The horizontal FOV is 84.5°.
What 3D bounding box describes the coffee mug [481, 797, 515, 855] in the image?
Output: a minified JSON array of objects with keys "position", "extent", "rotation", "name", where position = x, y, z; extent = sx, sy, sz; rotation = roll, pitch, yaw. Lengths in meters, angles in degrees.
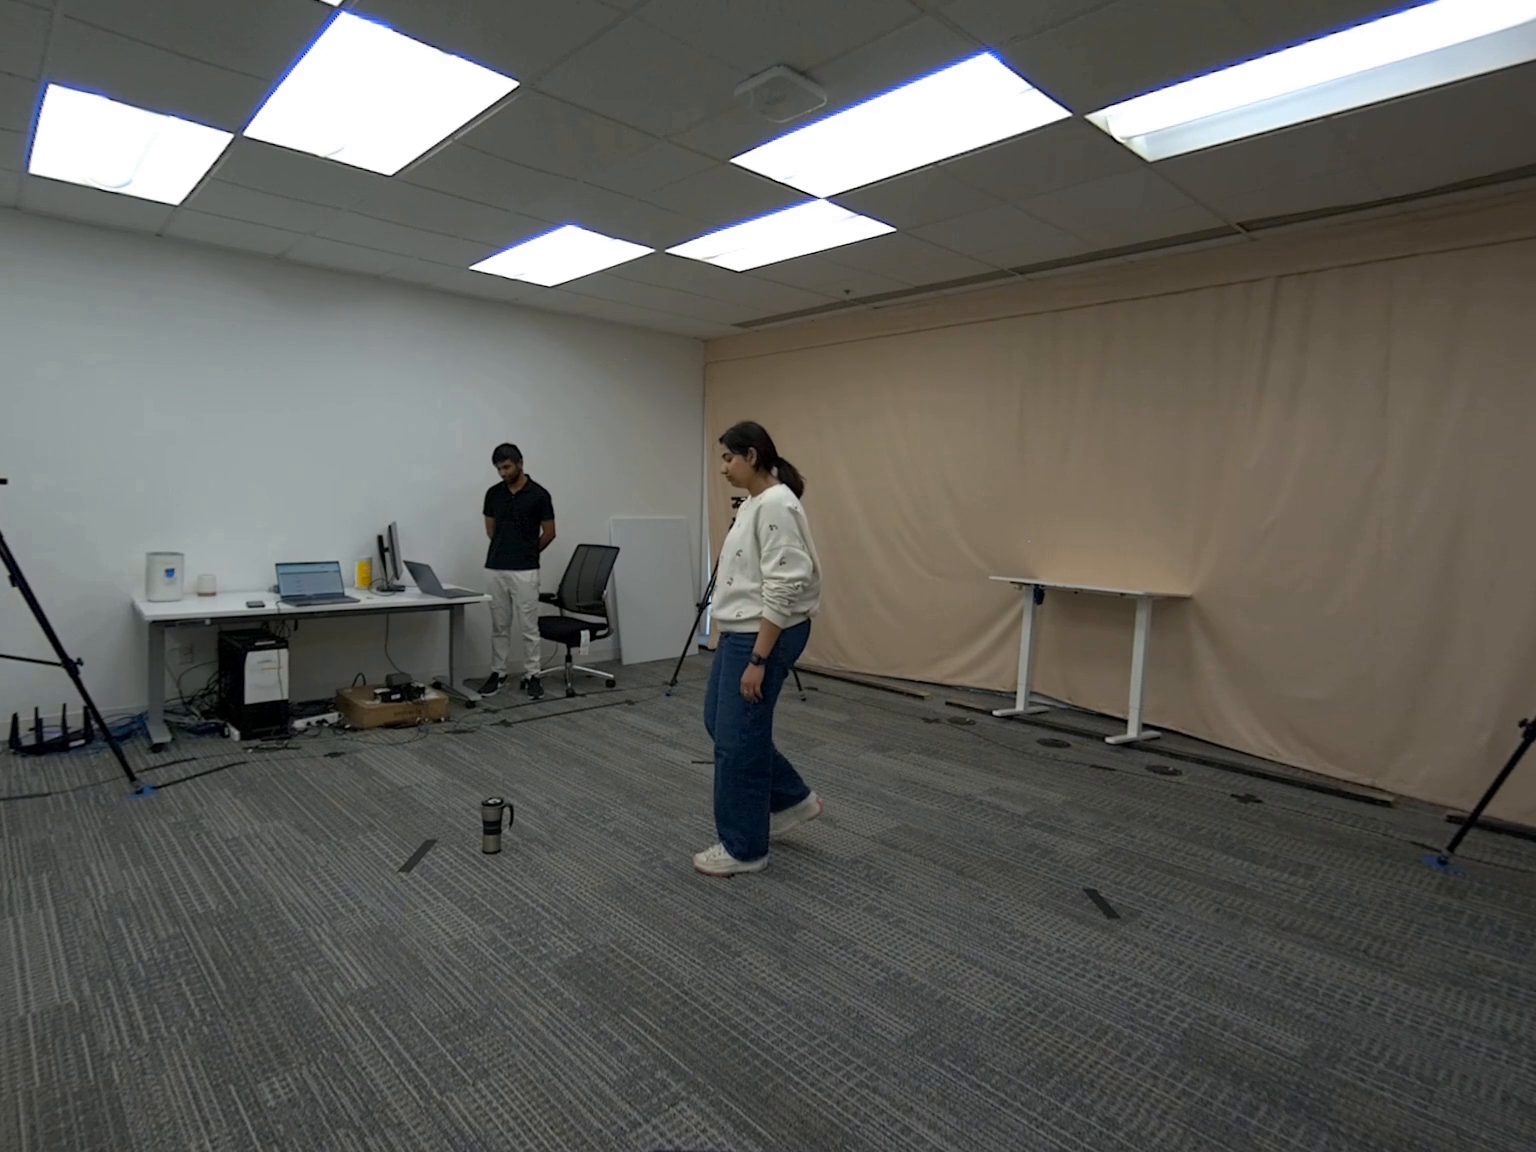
[{"position":[-1.062,0.967,3.261],"extent":[0.125,0.203,0.086],"rotation":[2,-1,44],"name":"coffee mug"}]
